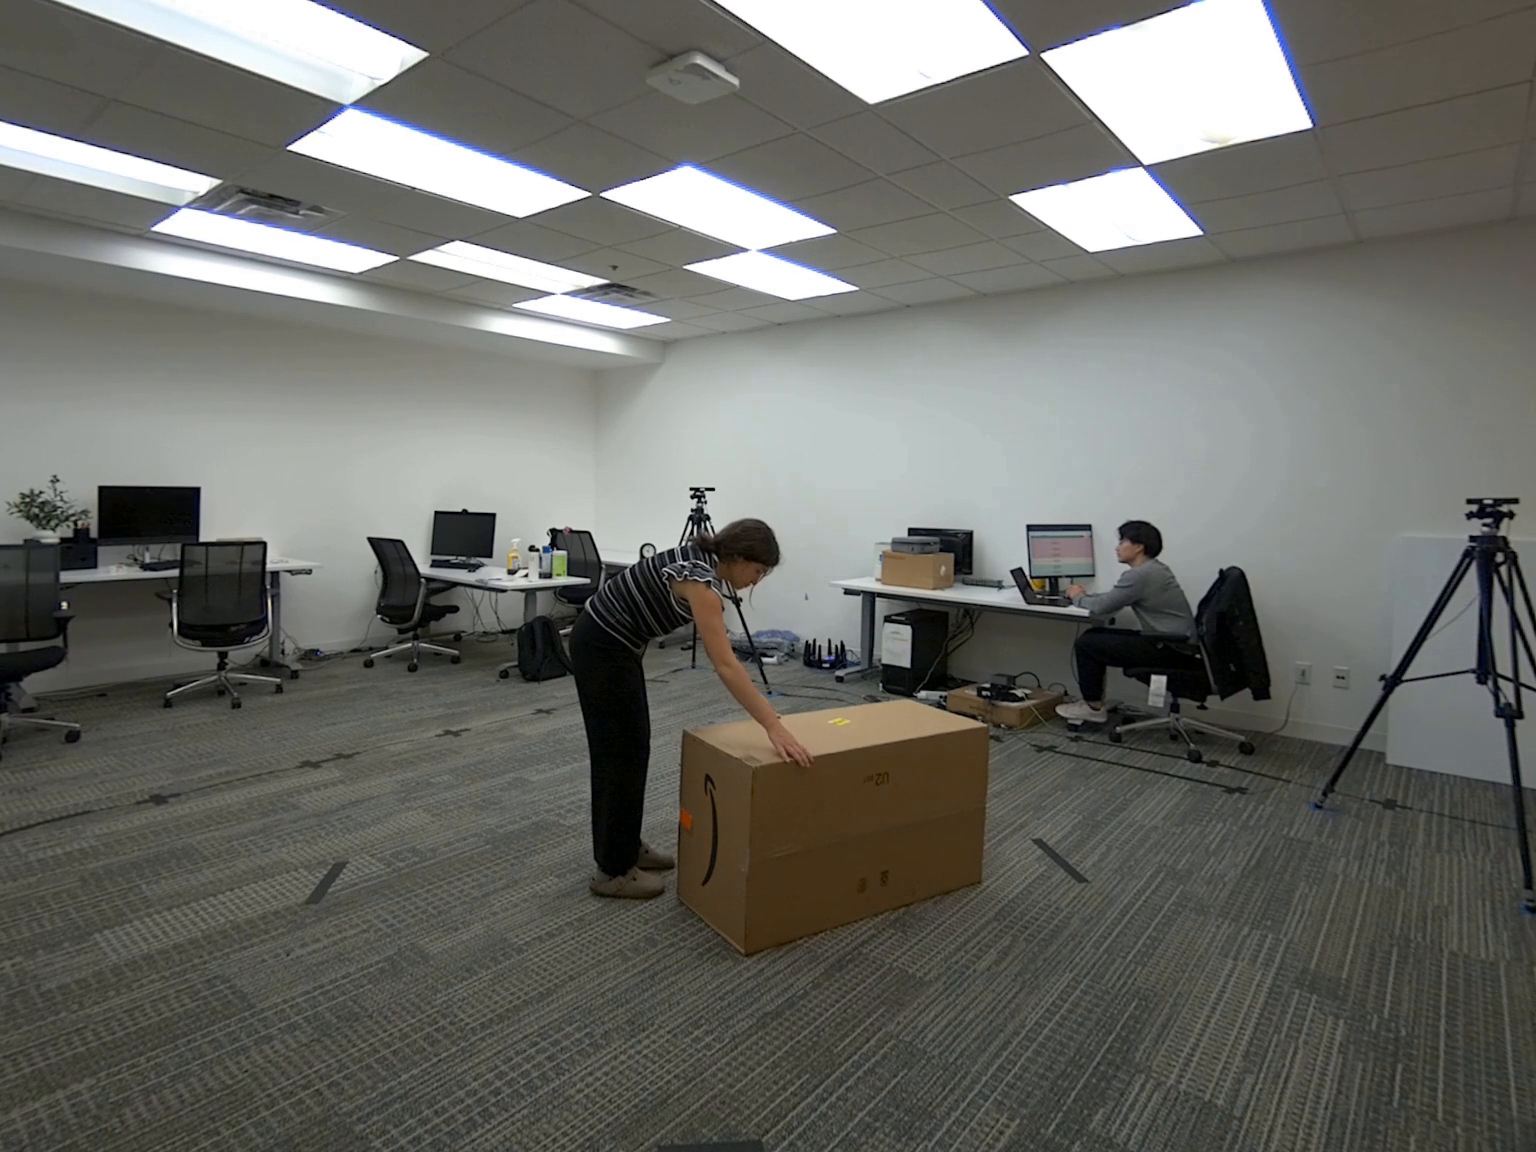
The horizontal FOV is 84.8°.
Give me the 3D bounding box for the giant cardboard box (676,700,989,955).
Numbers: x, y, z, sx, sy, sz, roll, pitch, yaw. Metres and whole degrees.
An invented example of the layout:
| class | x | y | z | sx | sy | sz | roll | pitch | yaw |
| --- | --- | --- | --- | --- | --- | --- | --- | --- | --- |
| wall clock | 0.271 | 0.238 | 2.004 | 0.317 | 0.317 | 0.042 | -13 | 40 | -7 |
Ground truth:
| class | x | y | z | sx | sy | sz | roll | pitch | yaw |
| --- | --- | --- | --- | --- | --- | --- | --- | --- | --- |
| giant cardboard box | 0.233 | 0.802 | 2.949 | 0.997 | 0.576 | 0.440 | -1 | 4 | -32 |
